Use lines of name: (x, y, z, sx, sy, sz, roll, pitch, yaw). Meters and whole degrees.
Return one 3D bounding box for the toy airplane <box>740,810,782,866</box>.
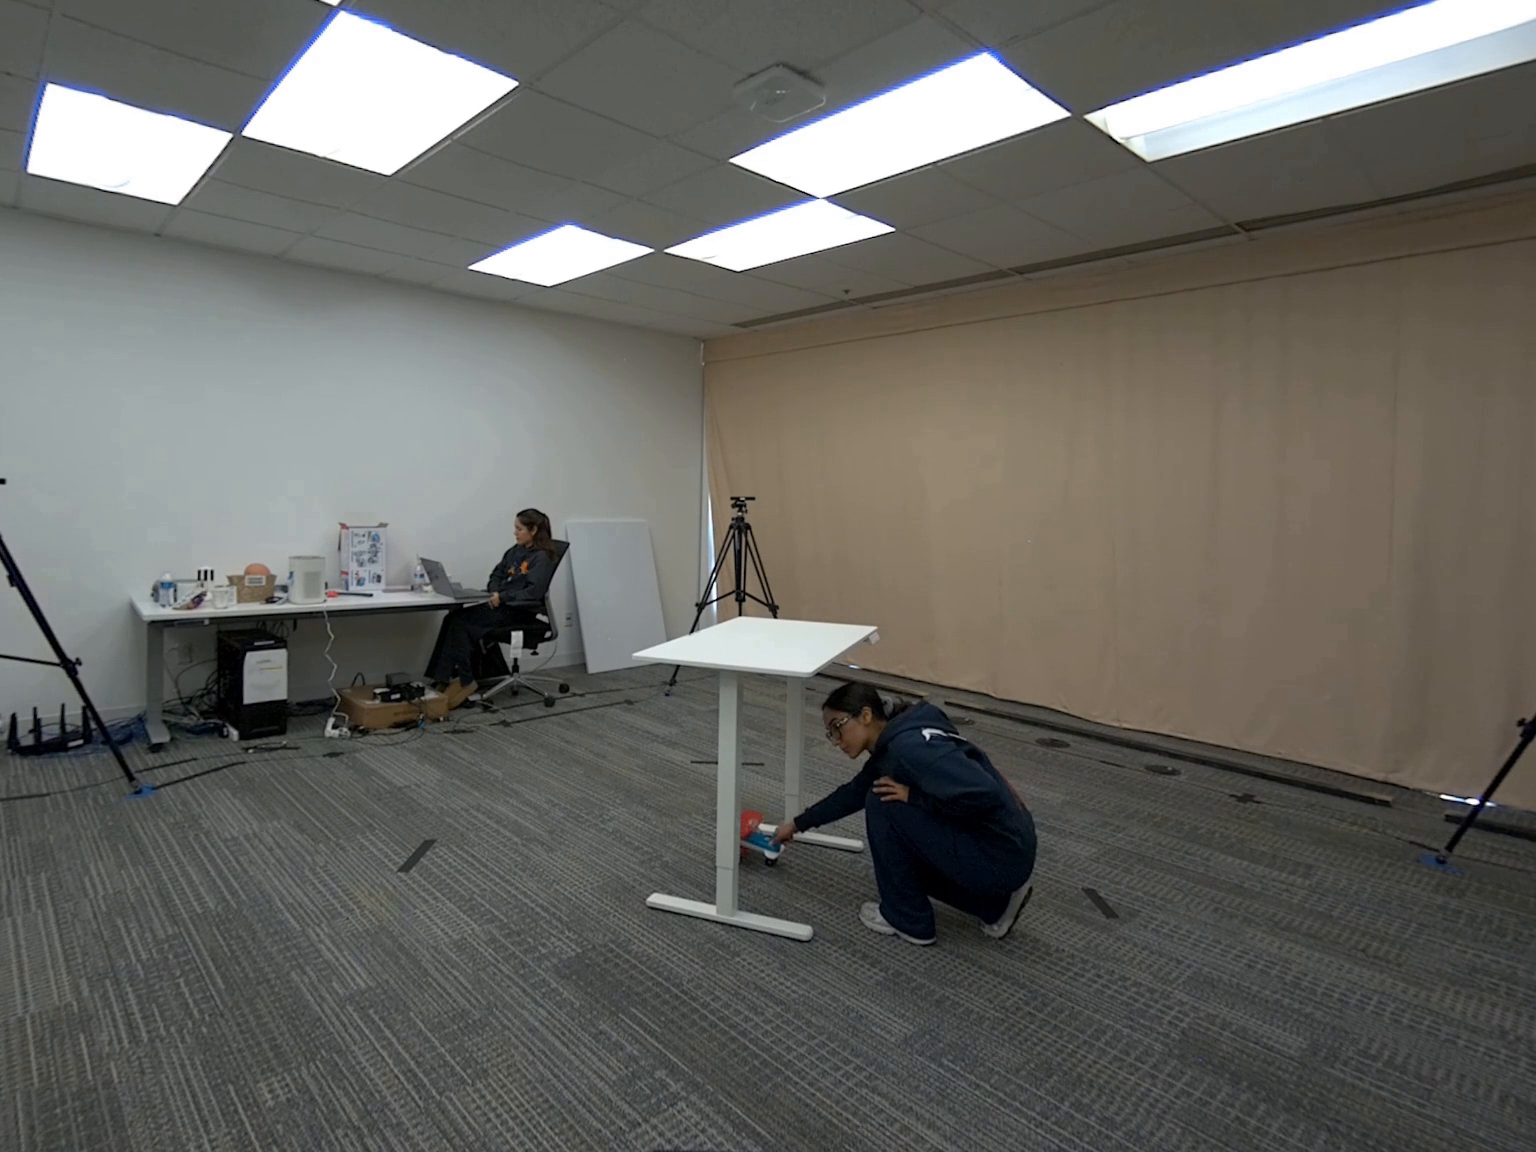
toy airplane: (-0.072, 1.017, 3.269, 0.258, 0.156, 0.253, -1, 7, -6)
